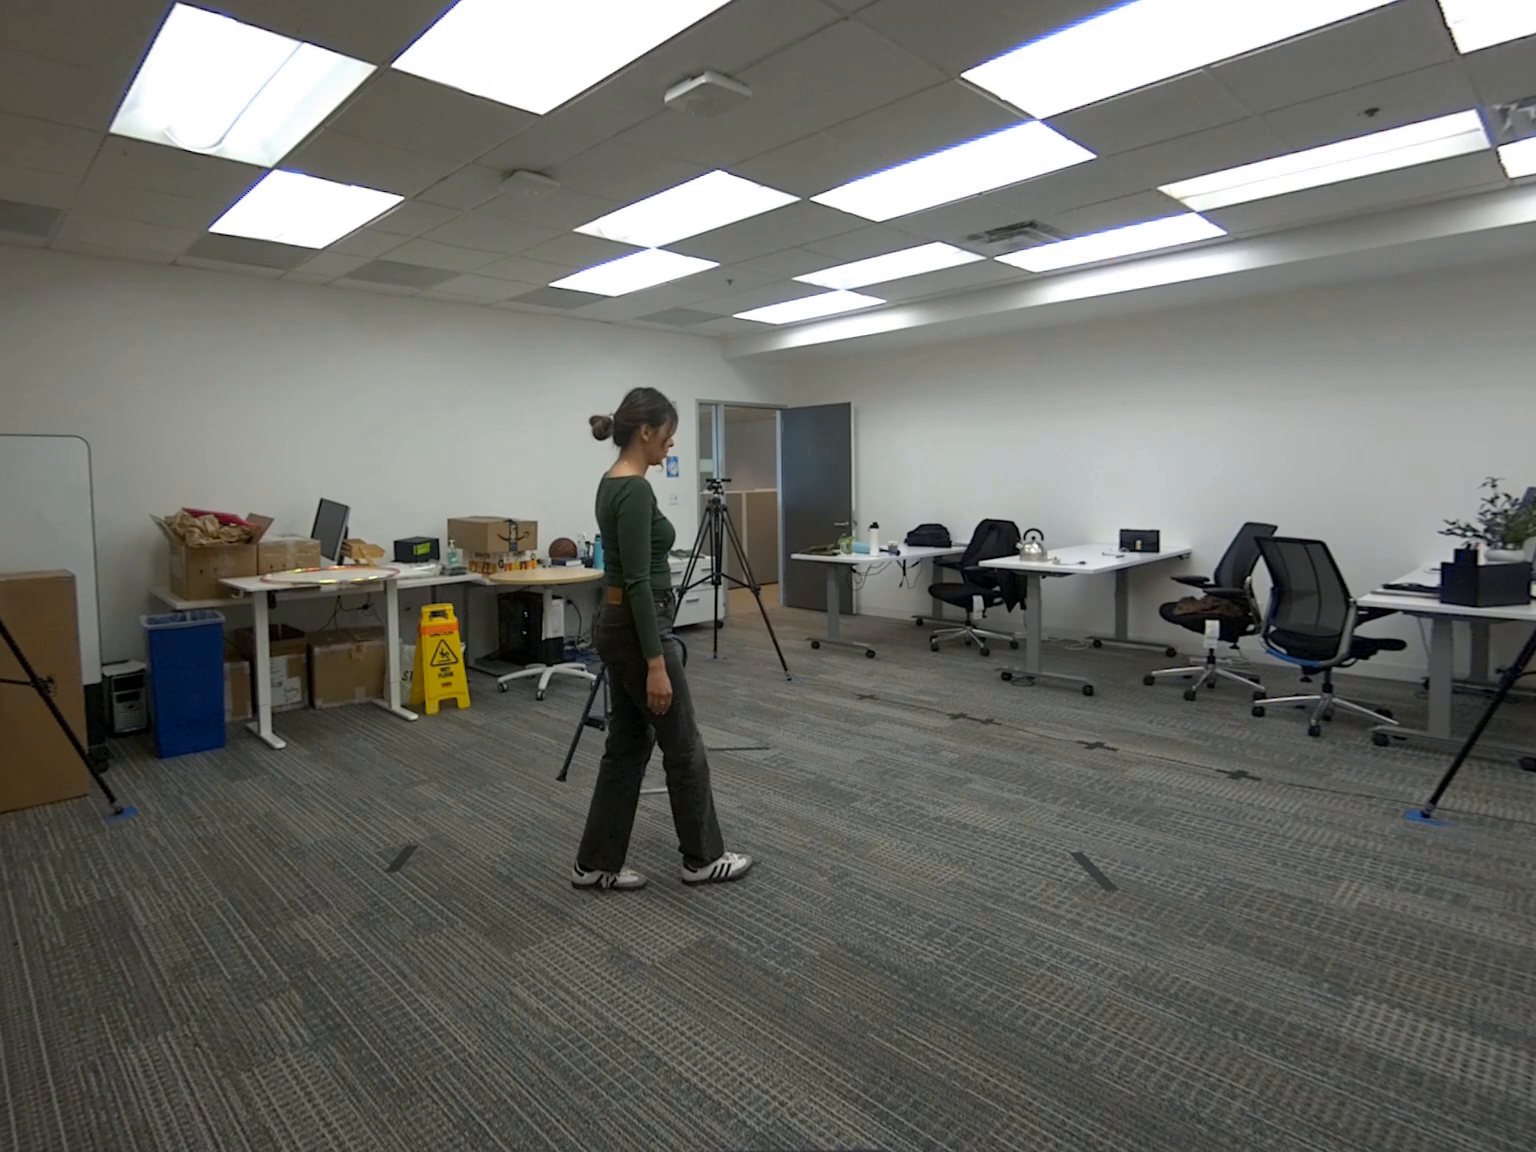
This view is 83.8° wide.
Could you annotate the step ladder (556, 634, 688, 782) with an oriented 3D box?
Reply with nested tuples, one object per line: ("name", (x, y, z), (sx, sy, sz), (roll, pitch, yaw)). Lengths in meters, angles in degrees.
("step ladder", (-0.521, 0.520, 3.350), (0.360, 0.608, 0.416), (2, -6, 44))
